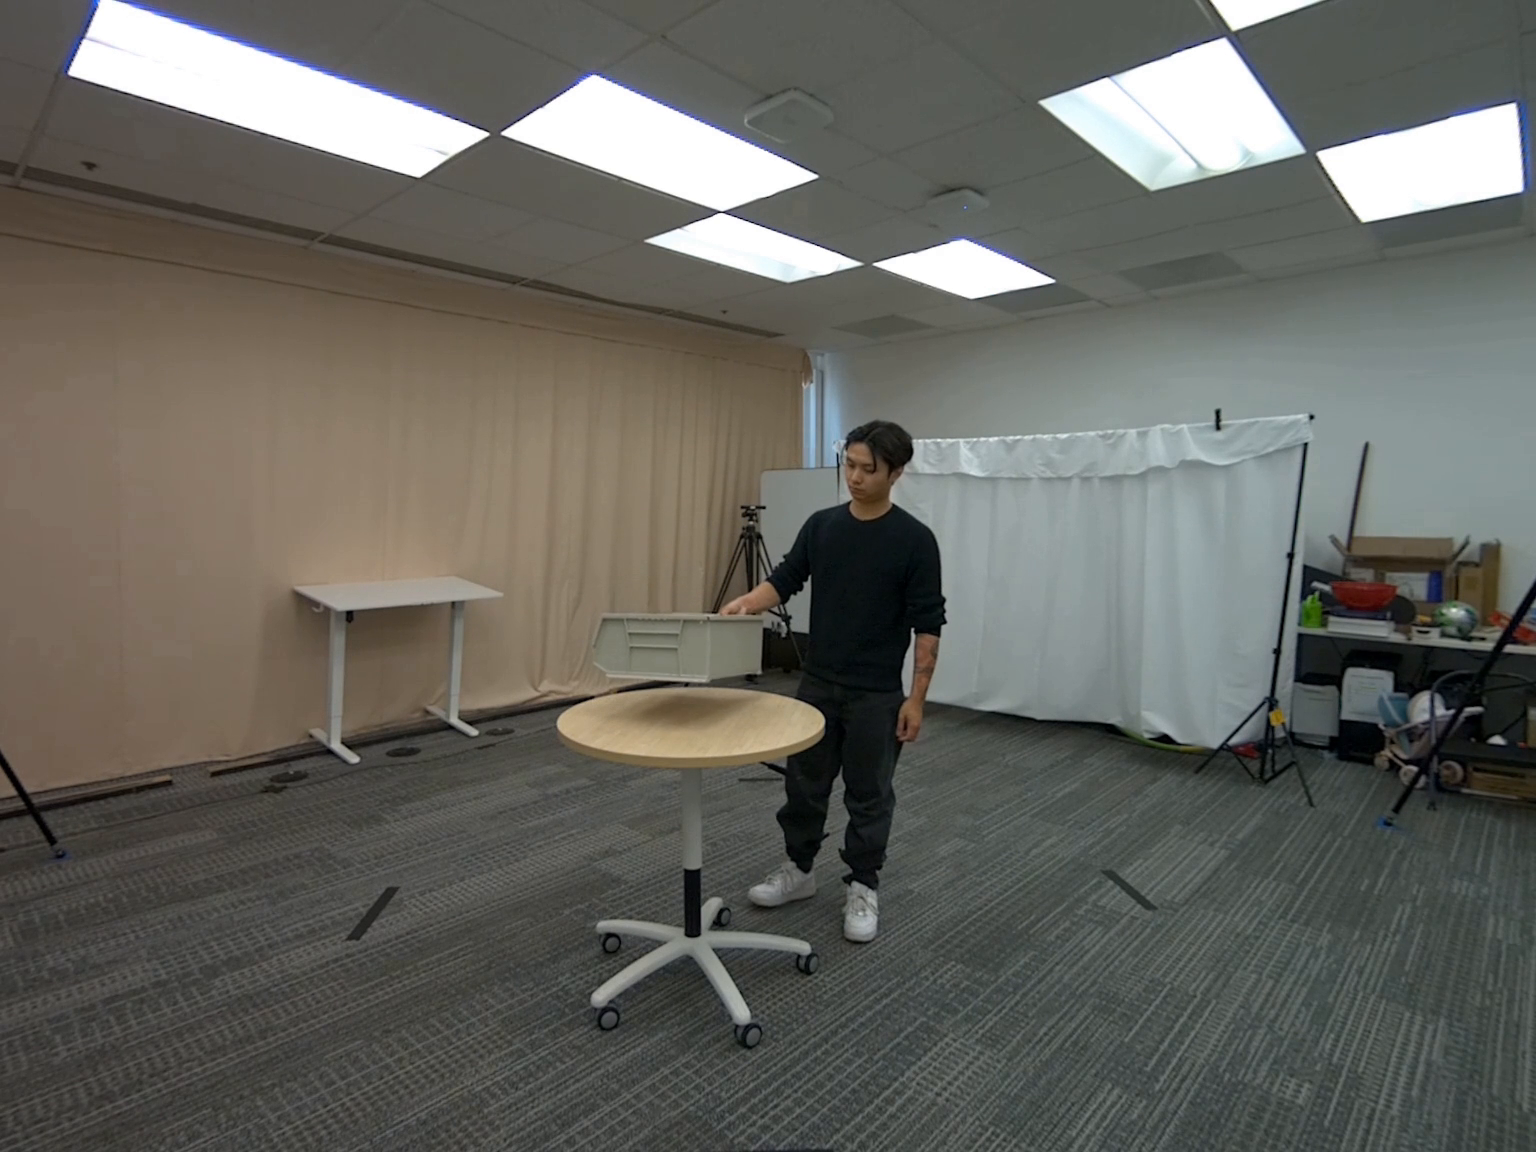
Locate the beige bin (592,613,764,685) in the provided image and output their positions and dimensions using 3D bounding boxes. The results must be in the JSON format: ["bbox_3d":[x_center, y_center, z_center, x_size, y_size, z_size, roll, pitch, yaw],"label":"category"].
[{"bbox_3d":[-0.265,0.209,2.495,0.386,0.189,0.411,1,-3,23],"label":"beige bin"}]
